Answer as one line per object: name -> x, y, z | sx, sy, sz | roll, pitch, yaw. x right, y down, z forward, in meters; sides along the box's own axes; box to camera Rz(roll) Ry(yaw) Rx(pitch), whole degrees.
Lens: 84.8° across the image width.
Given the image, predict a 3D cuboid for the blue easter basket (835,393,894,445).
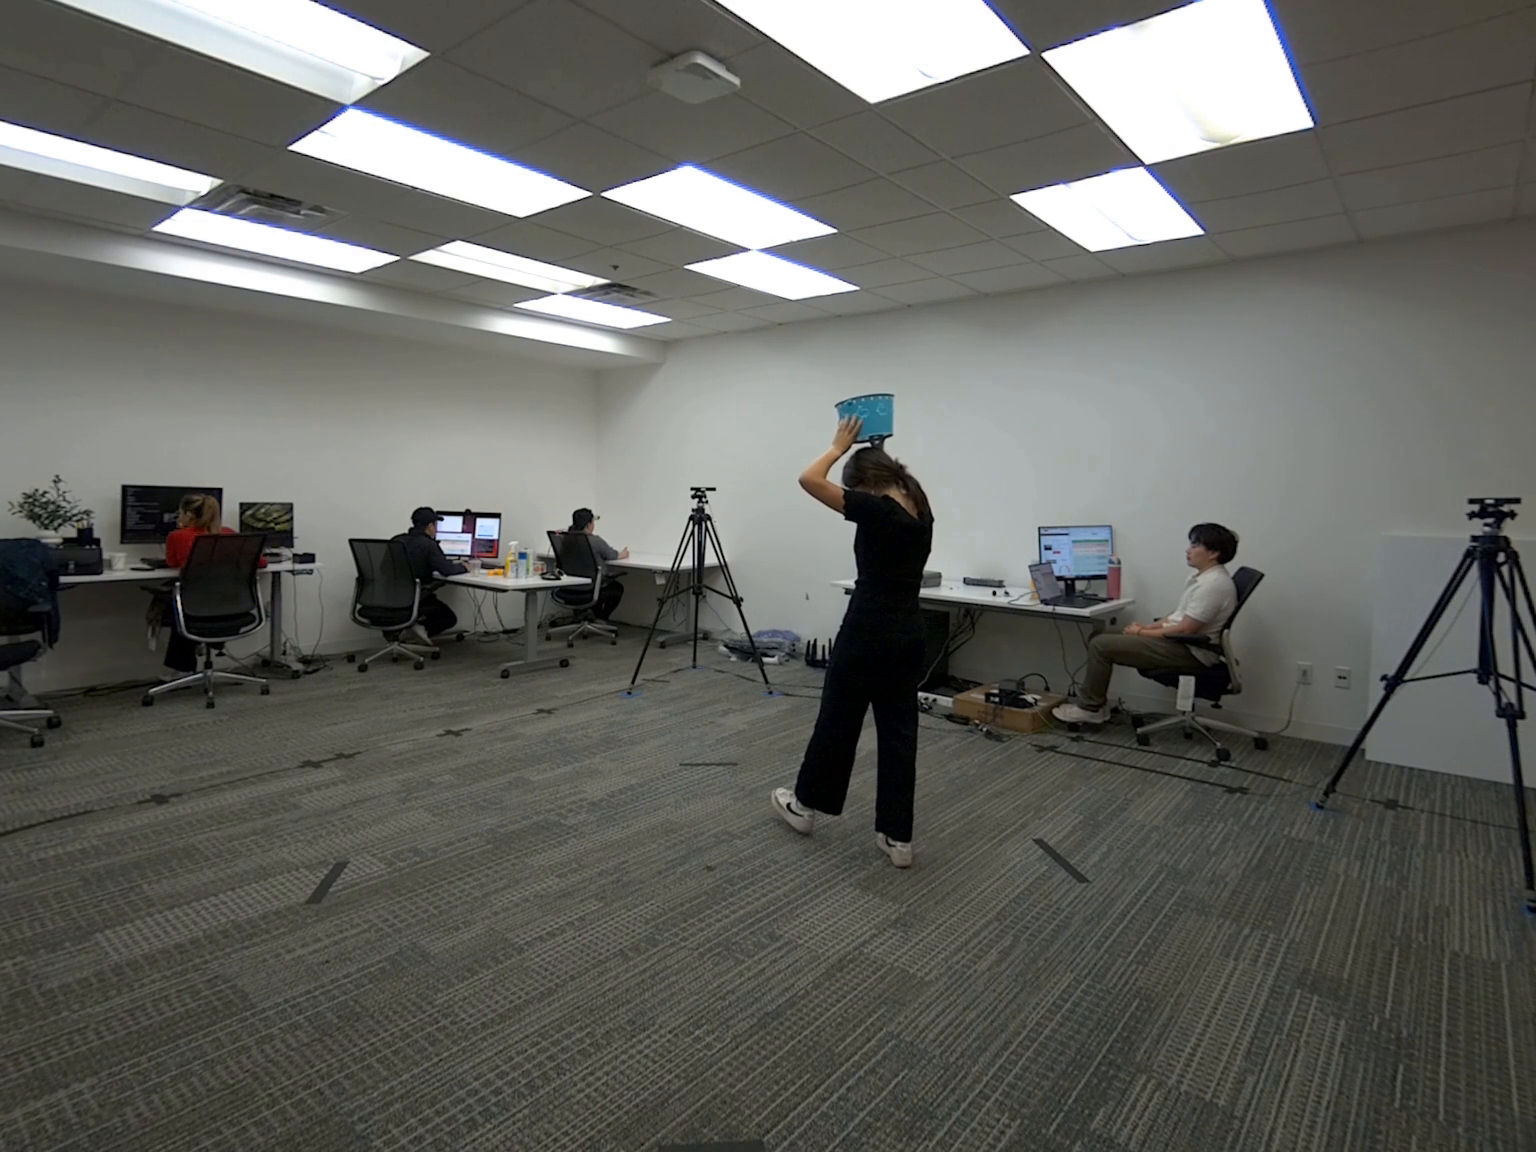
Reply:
blue easter basket -> 0.387, -0.617, 3.334 | 0.243, 0.156, 0.244 | -7, 2, -2
